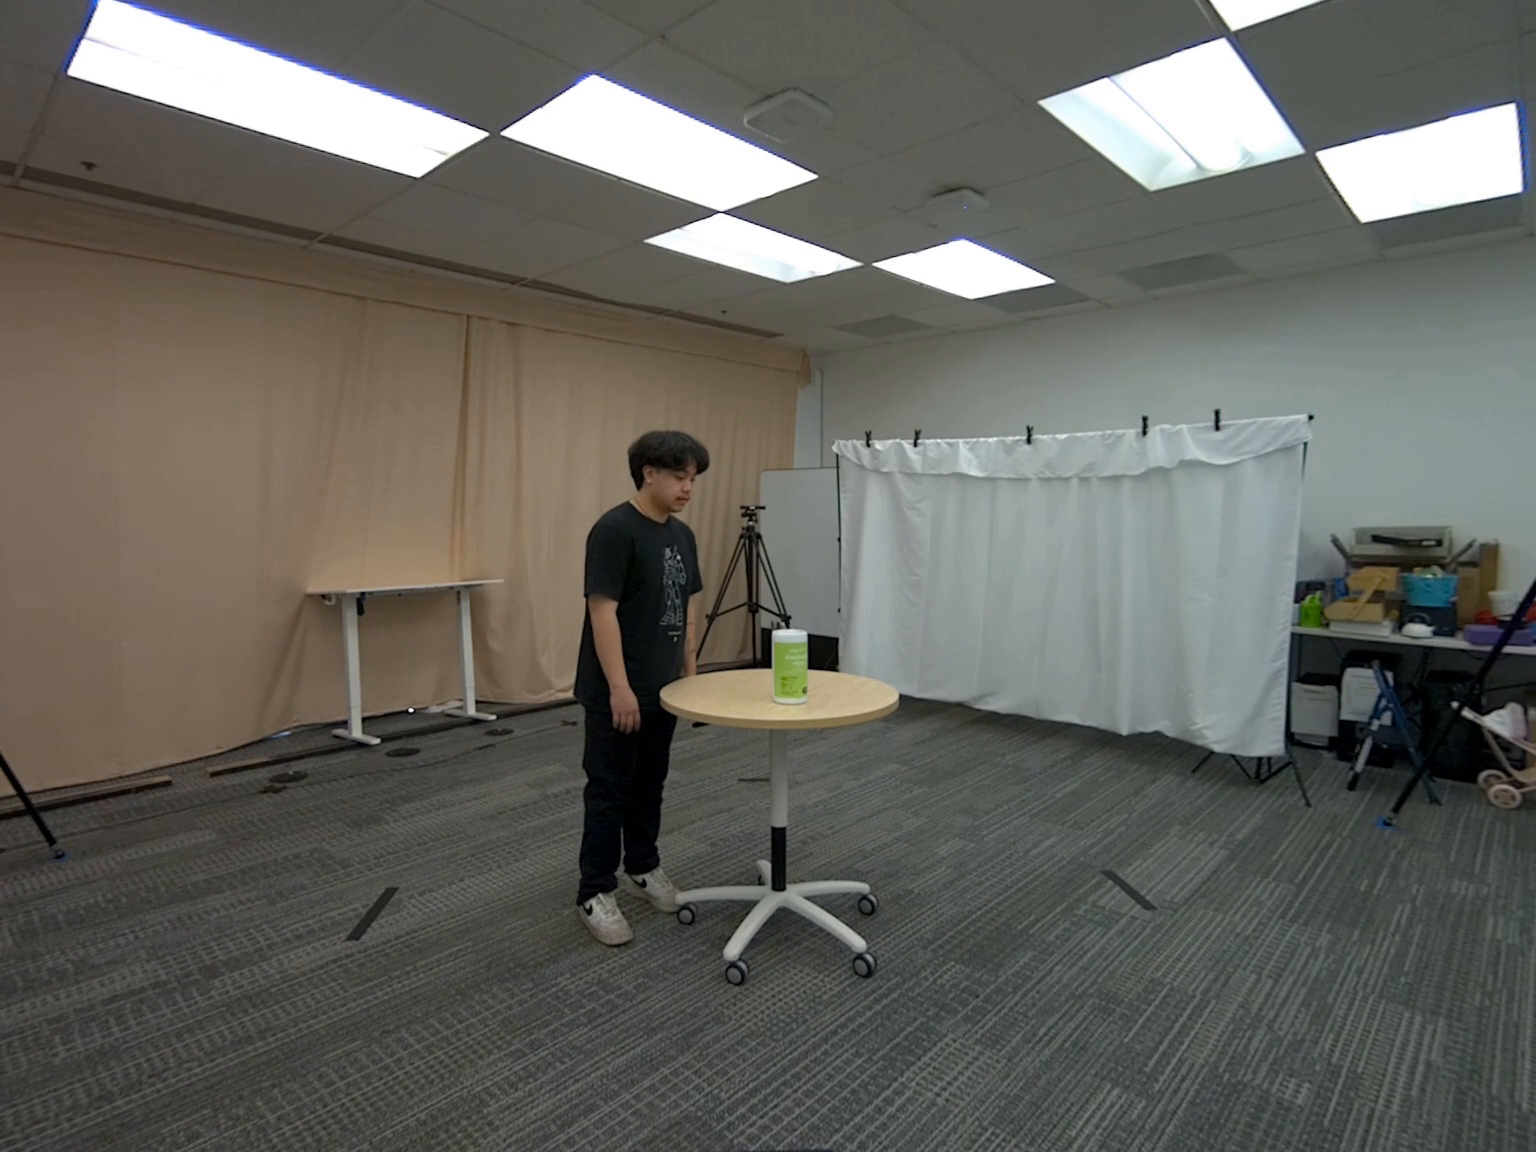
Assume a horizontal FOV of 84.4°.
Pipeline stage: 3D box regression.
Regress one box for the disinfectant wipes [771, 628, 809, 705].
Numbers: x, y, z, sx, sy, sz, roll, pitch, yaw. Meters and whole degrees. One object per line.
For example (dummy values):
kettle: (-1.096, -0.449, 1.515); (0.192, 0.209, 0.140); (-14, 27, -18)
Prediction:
disinfectant wipes: (0.069, 0.276, 2.574); (0.118, 0.217, 0.118); (-1, 3, -2)
